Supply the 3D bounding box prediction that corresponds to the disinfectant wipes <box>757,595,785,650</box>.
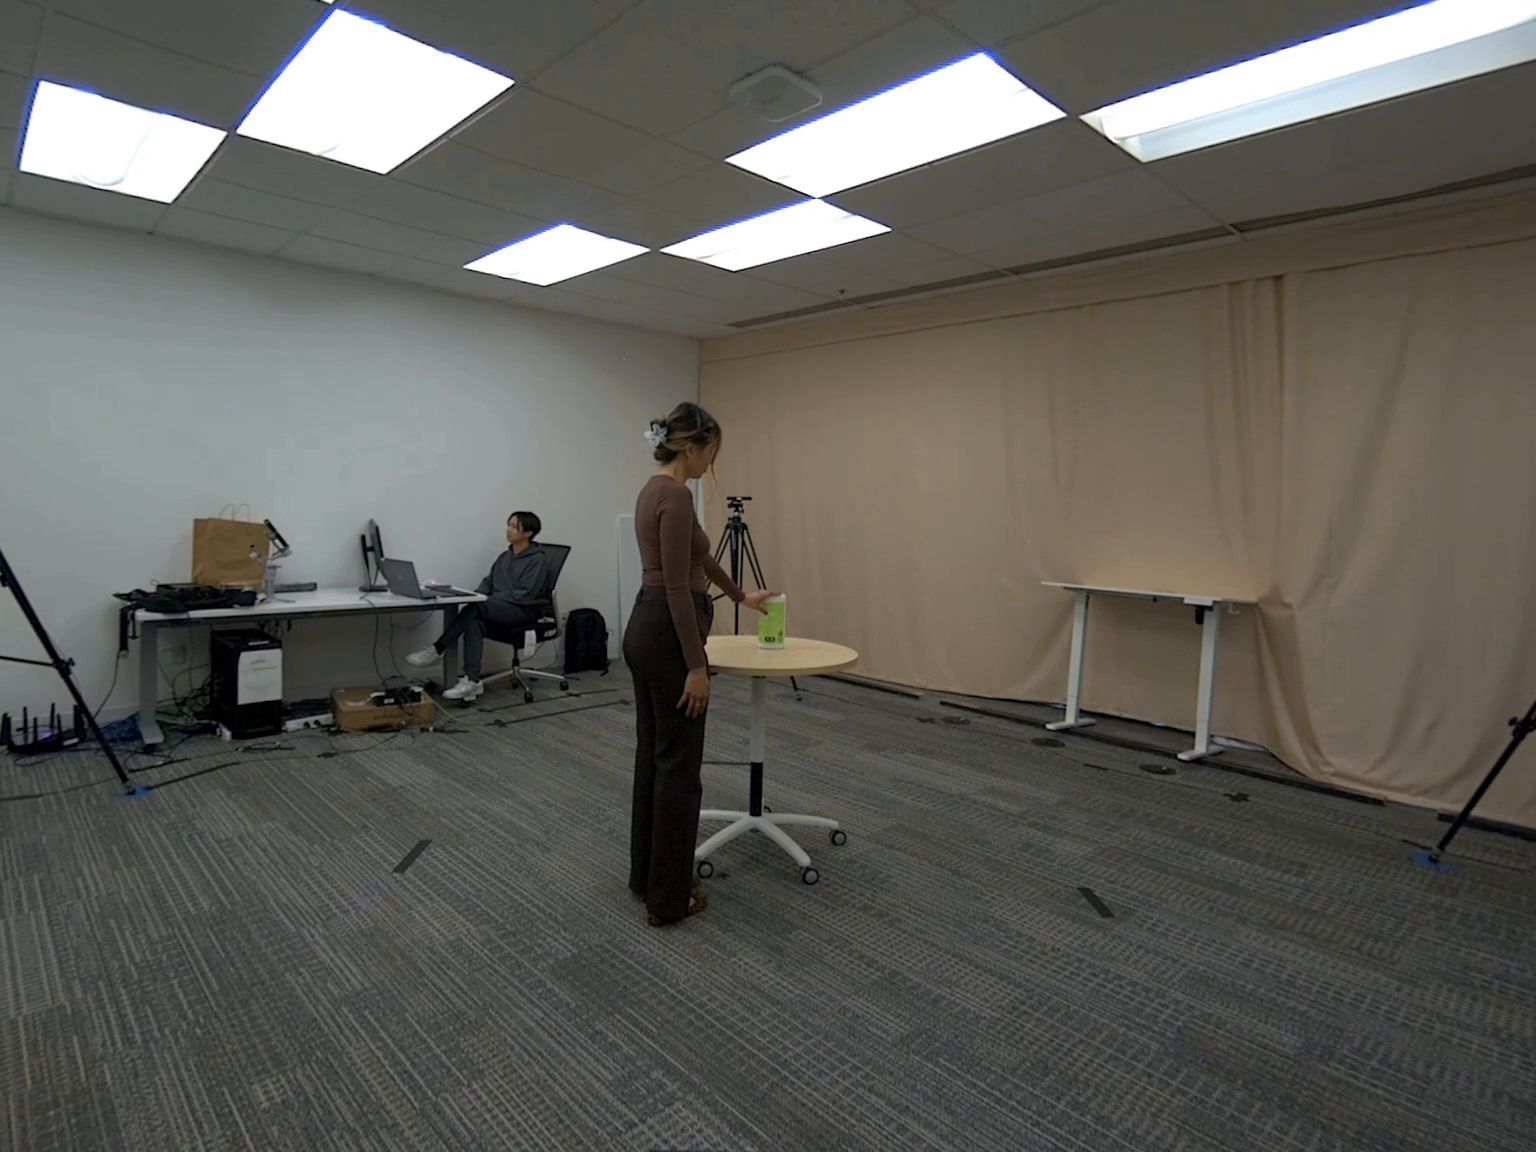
[{"bbox_3d":[0.007,0.181,3.388,0.118,0.217,0.118,0,5,-1],"label":"disinfectant wipes"}]
